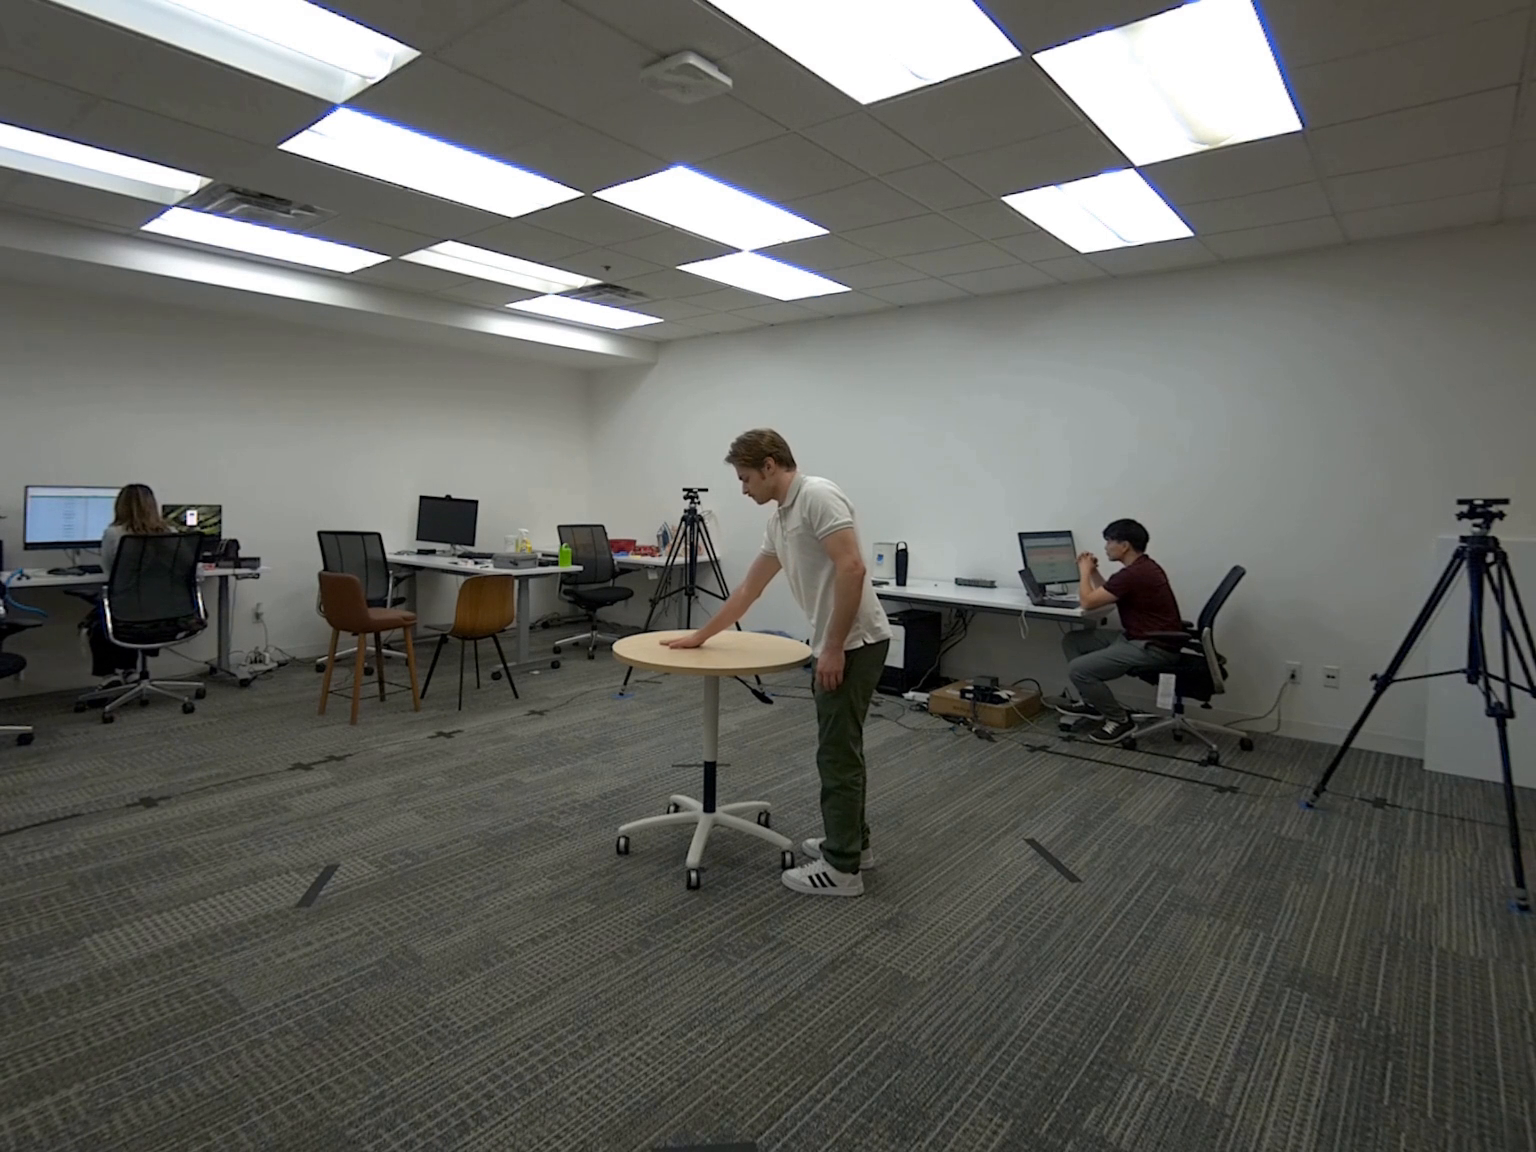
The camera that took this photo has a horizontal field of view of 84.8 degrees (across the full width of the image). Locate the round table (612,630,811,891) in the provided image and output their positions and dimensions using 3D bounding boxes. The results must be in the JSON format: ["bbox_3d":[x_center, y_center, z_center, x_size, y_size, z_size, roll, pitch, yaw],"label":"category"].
[{"bbox_3d":[-0.239,0.656,3.304,0.784,0.784,0.789,1,4,-2],"label":"round table"}]
